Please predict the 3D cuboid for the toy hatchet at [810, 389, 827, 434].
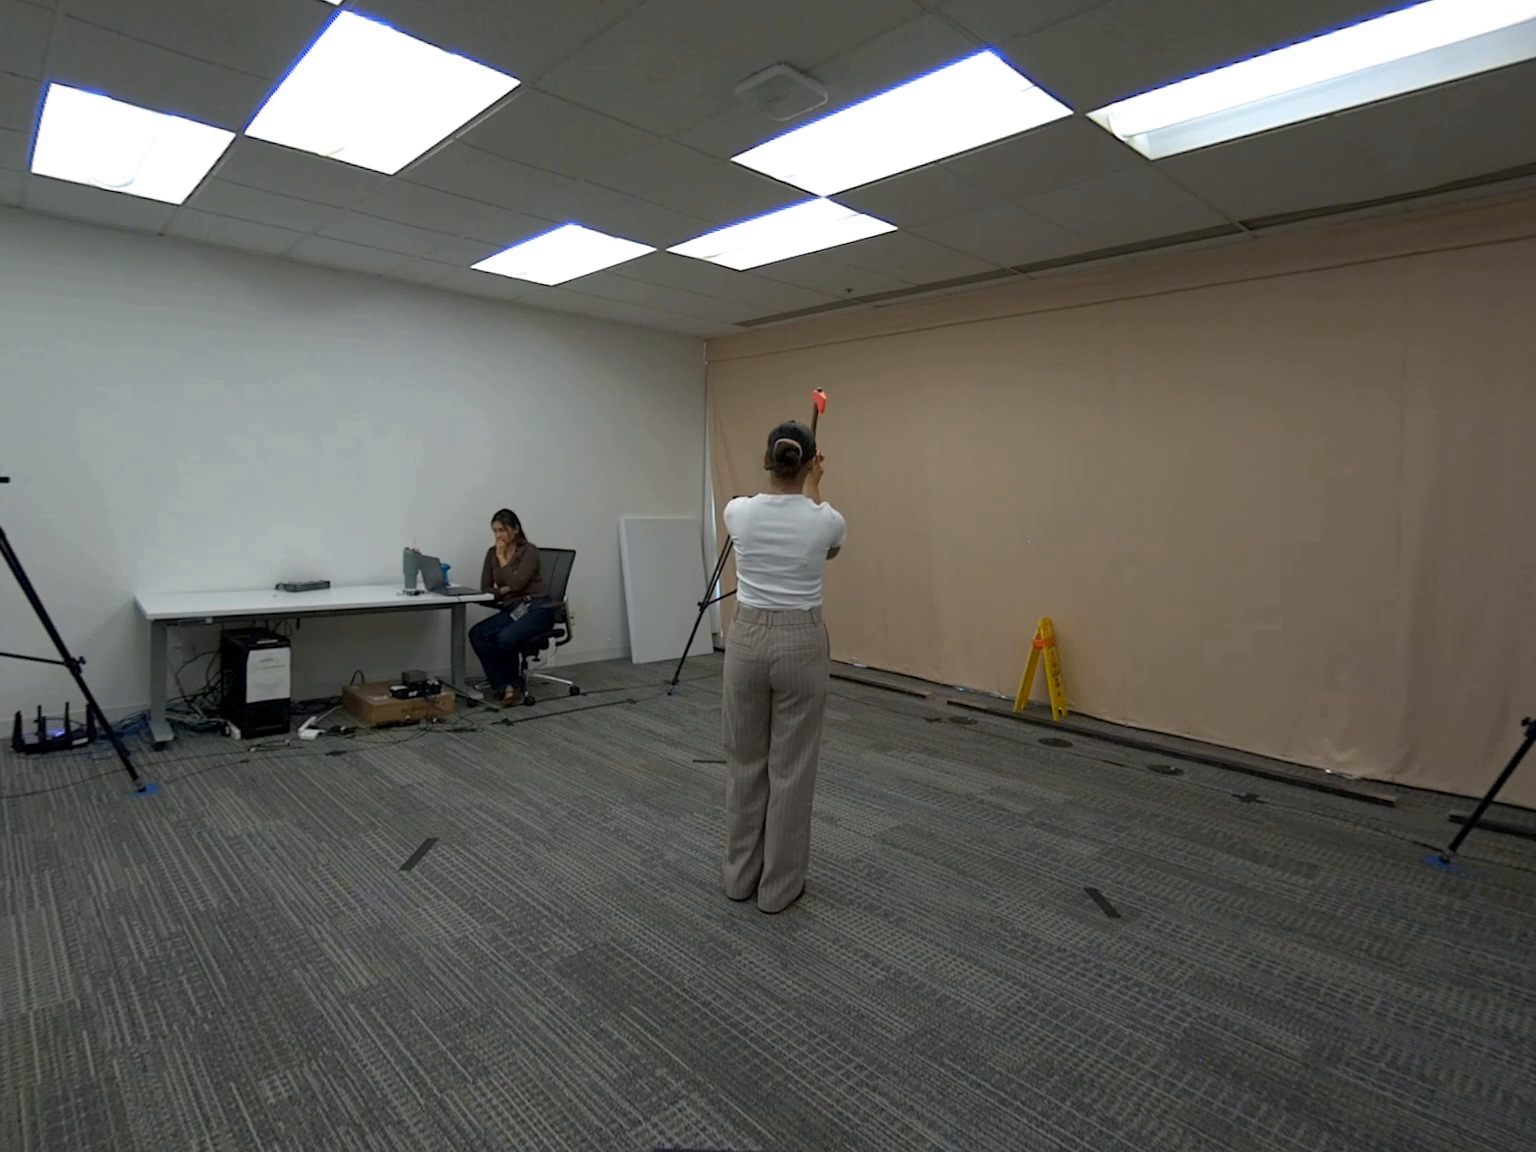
[{"bbox_3d":[0.174,-0.548,3.045,0.029,0.270,0.133,0,2,-18],"label":"toy hatchet"}]
